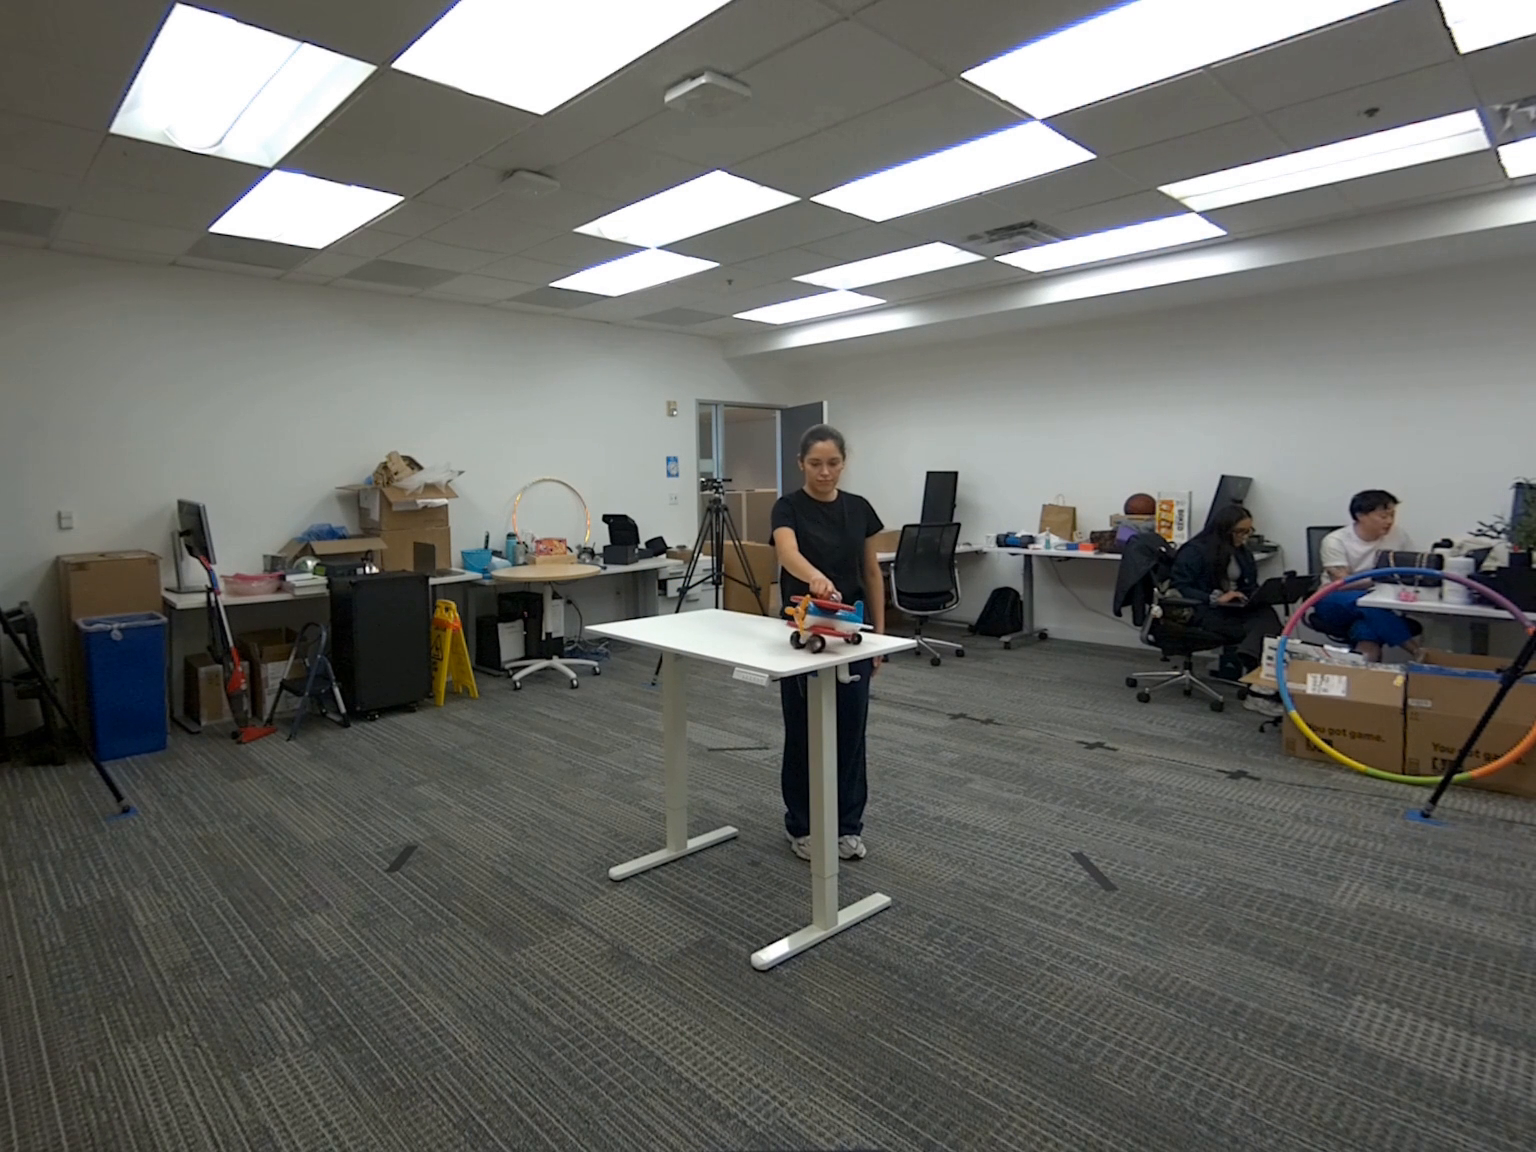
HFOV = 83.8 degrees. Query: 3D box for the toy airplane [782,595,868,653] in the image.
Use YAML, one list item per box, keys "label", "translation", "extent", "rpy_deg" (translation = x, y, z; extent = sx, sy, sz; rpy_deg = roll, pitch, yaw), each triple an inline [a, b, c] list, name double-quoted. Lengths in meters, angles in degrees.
- label: "toy airplane"
  translation: [0.169, 0.137, 2.614]
  extent: [0.257, 0.155, 0.254]
  rpy_deg: [2, 7, 27]
